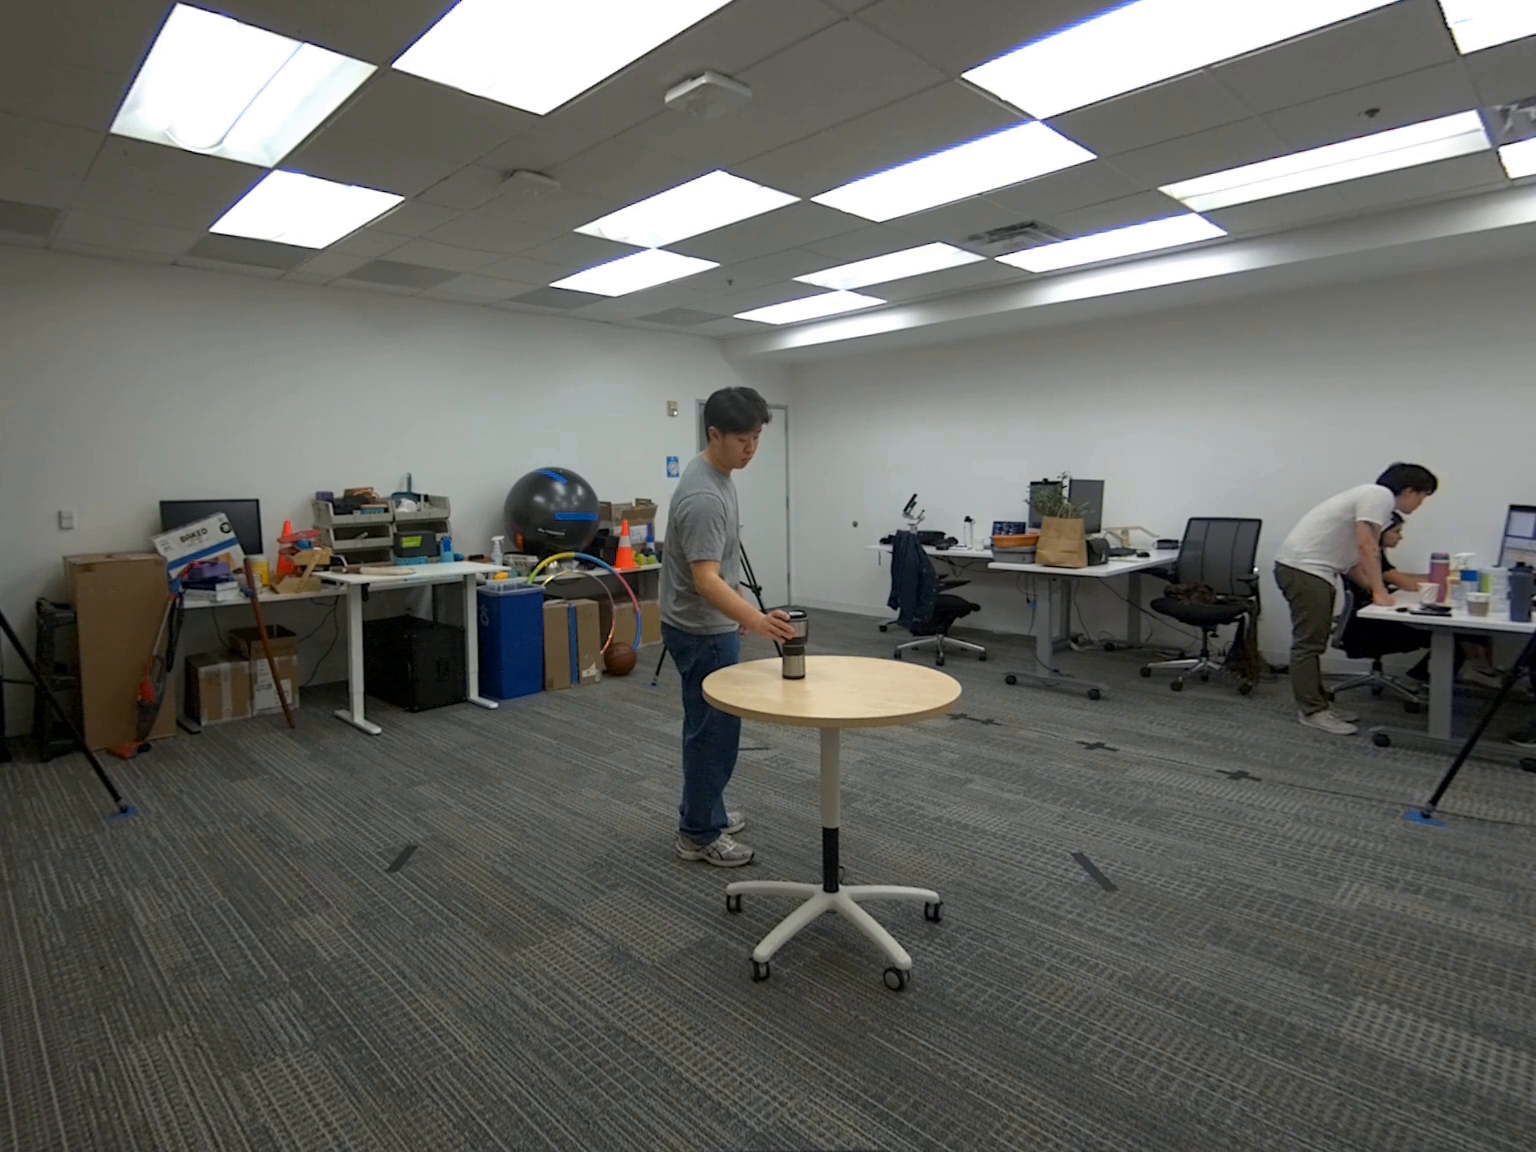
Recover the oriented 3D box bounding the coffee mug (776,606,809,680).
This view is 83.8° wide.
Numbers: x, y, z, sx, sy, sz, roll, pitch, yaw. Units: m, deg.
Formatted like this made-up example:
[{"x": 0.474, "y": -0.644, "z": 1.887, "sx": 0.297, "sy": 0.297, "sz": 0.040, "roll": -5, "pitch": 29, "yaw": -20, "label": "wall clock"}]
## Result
[{"x": 0.102, "y": 0.211, "z": 2.639, "sx": 0.119, "sy": 0.203, "sz": 0.090, "roll": -7, "pitch": 2, "yaw": -38, "label": "coffee mug"}]
